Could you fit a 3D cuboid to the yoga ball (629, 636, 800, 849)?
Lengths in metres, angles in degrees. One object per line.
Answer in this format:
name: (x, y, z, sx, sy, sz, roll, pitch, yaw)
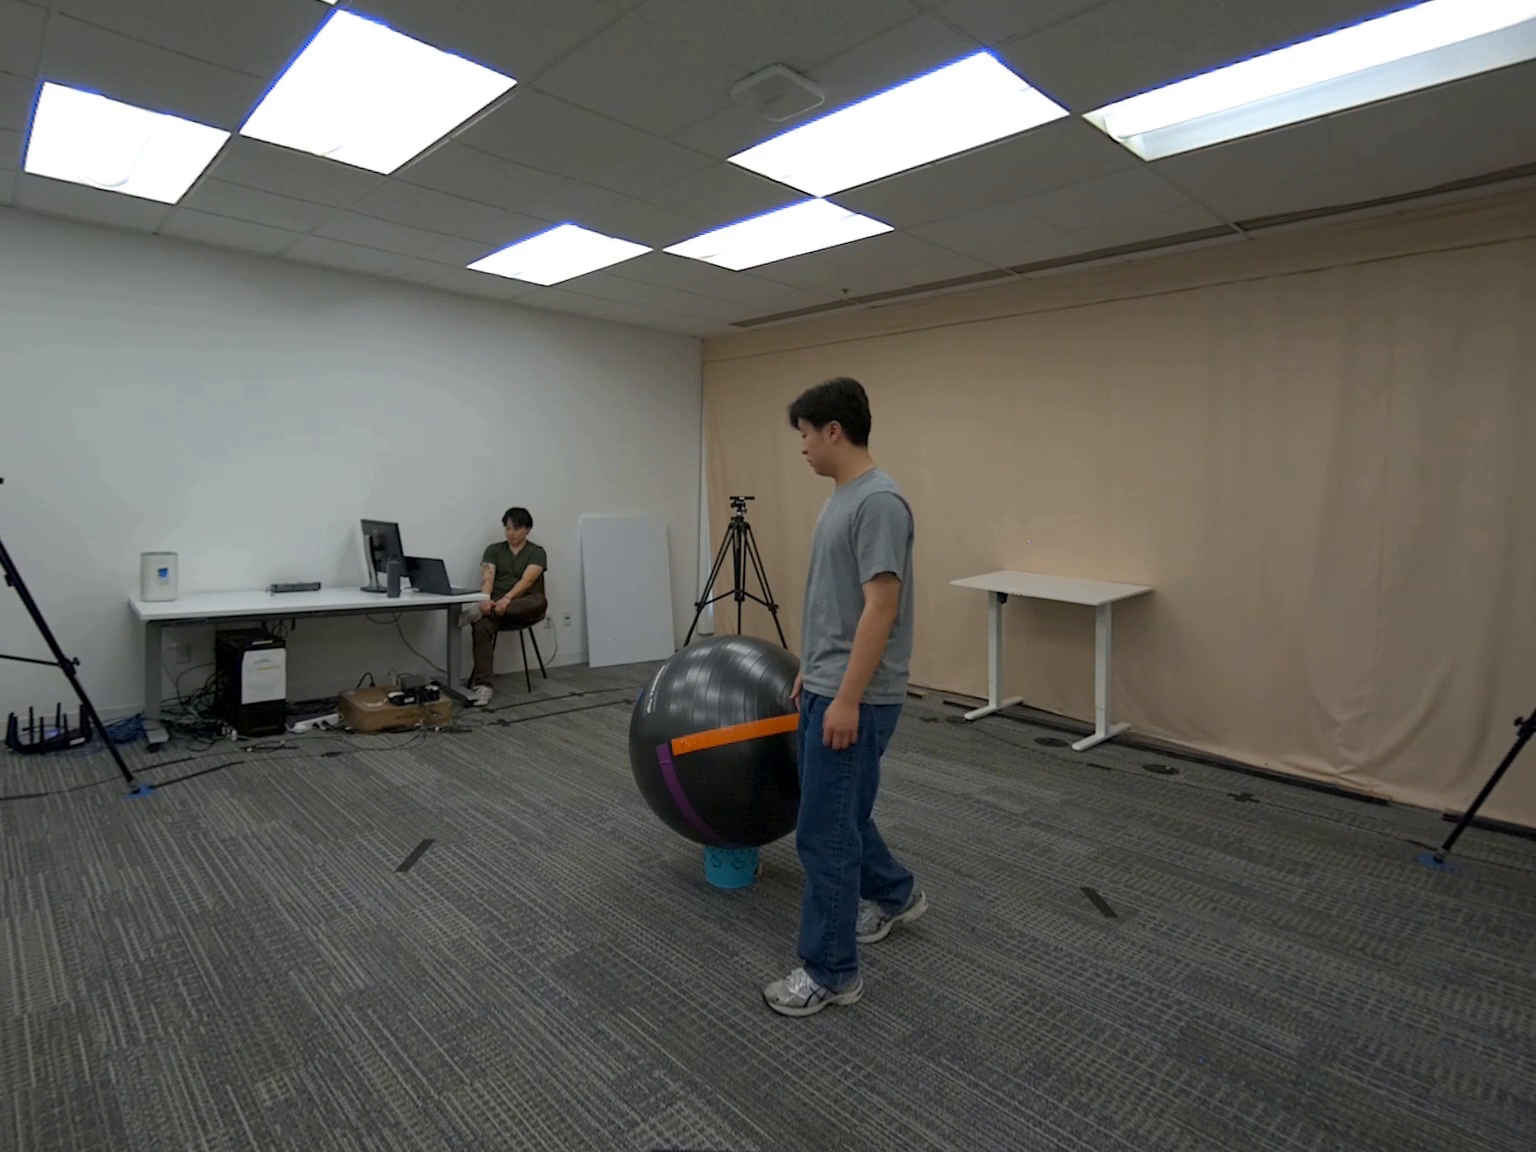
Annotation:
yoga ball: (-0.126, 0.593, 3.063, 0.757, 0.756, 0.761, 1, 4, -1)
